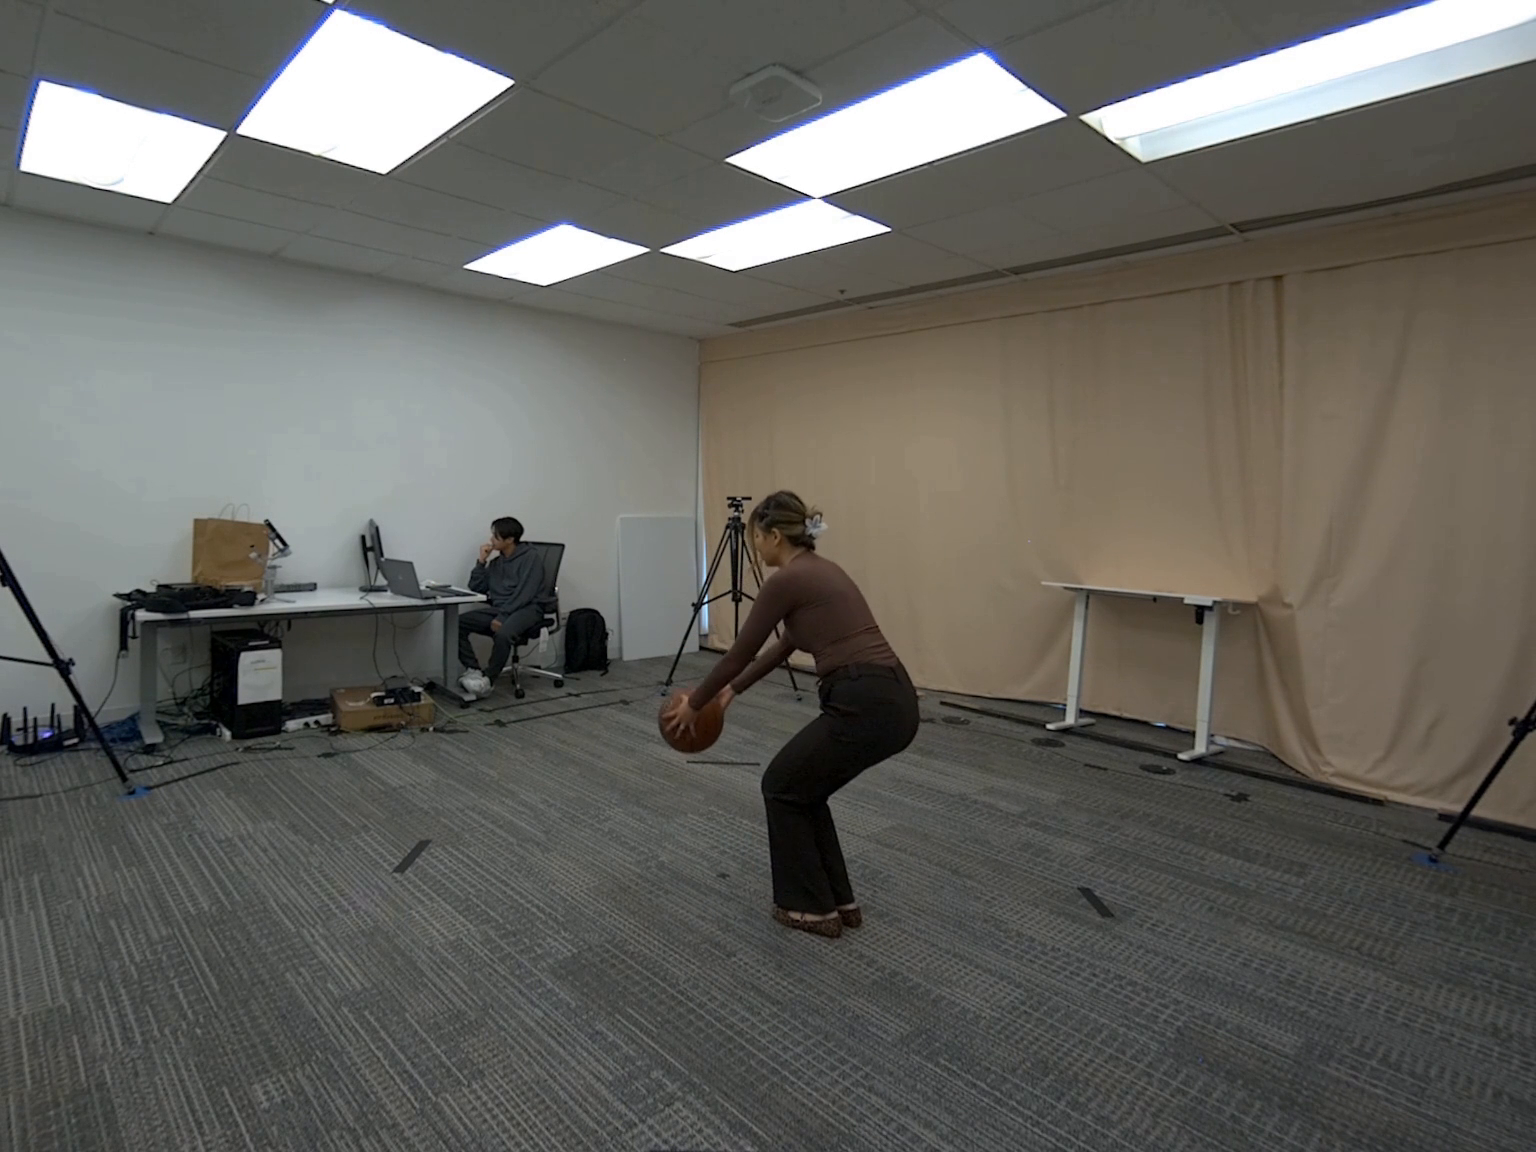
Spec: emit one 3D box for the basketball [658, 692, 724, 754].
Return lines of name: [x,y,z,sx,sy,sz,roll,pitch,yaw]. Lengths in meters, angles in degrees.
basketball: [-0.287,0.514,3.045,0.236,0.235,0.237,1,4,-1]
